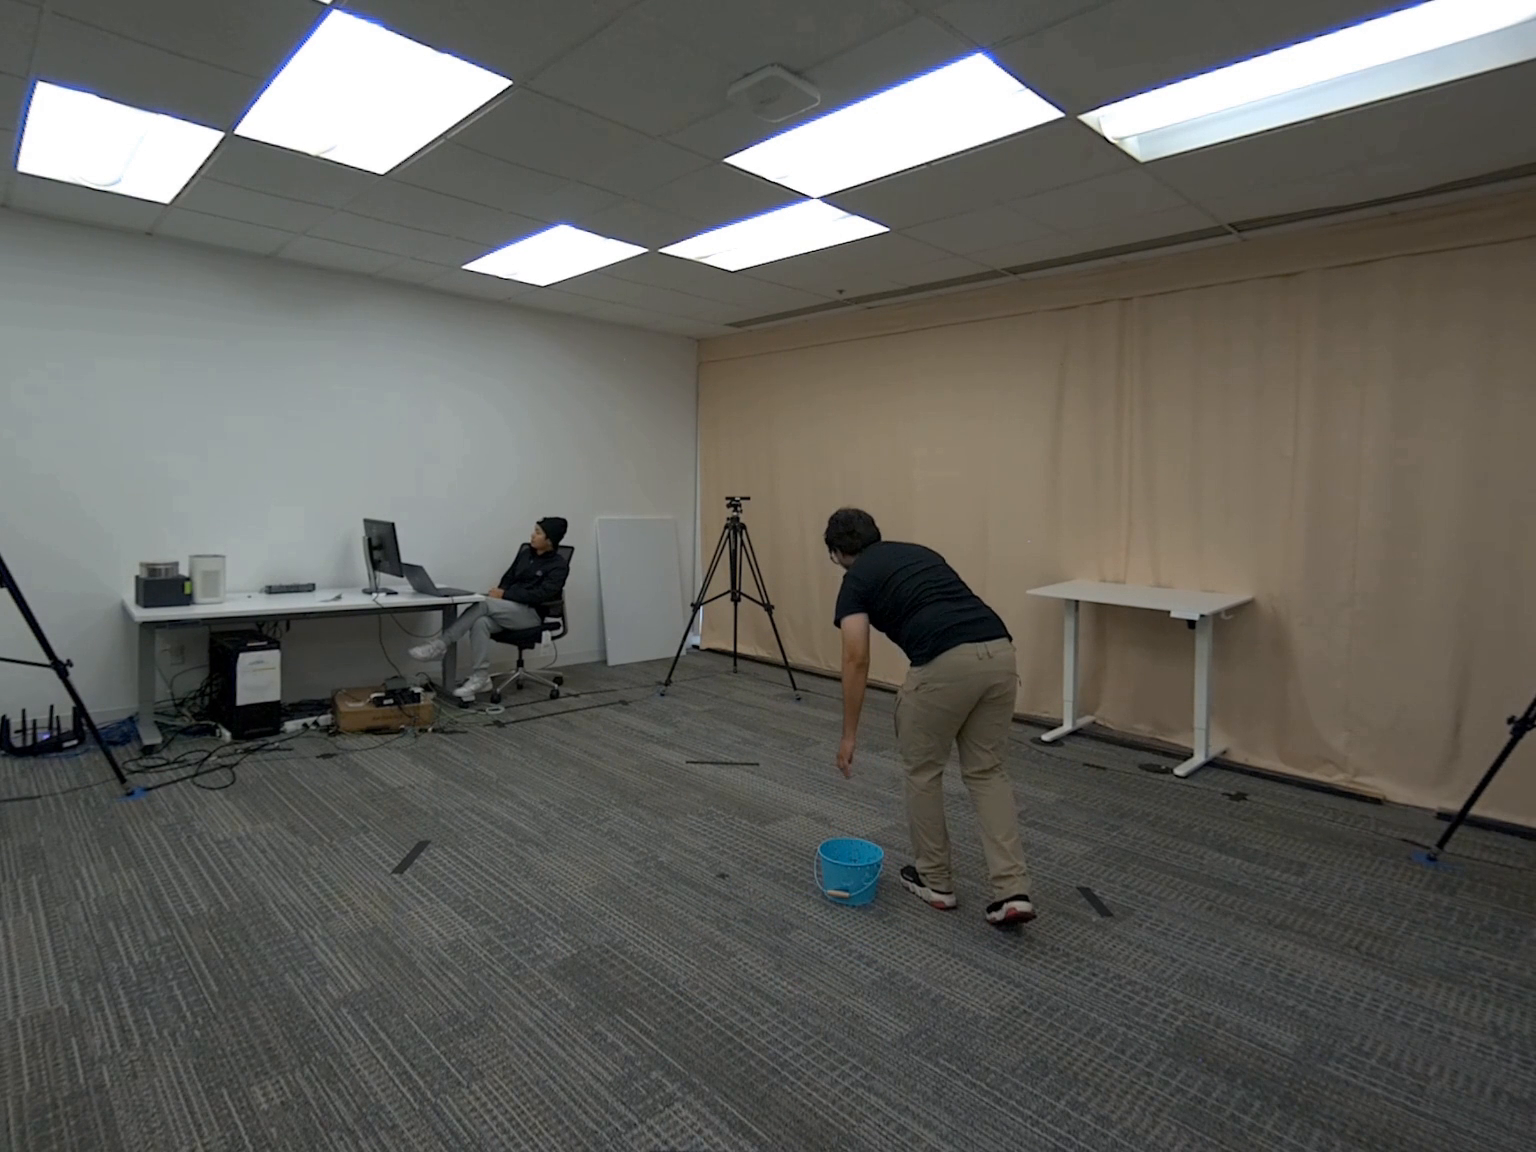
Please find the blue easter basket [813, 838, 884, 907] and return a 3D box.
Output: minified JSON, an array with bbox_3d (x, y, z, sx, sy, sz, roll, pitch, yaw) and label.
[{"bbox_3d":[0.282,1.042,2.994,0.243,0.155,0.244,1,4,-1],"label":"blue easter basket"}]
